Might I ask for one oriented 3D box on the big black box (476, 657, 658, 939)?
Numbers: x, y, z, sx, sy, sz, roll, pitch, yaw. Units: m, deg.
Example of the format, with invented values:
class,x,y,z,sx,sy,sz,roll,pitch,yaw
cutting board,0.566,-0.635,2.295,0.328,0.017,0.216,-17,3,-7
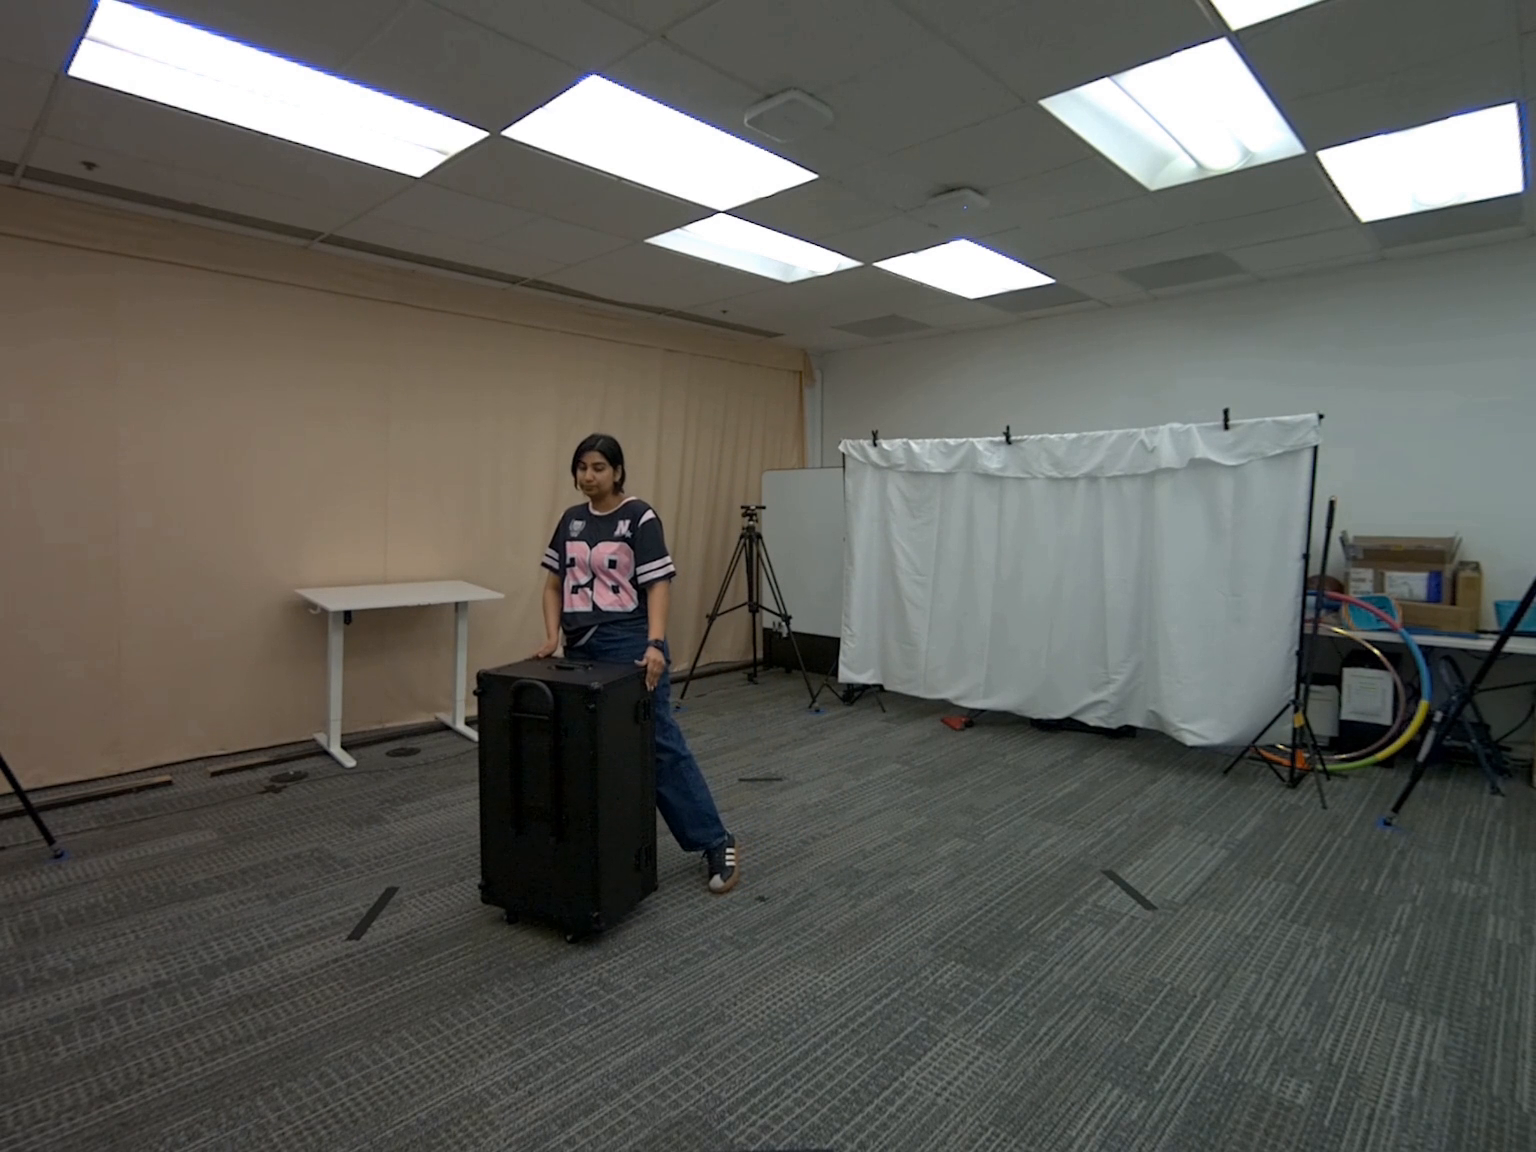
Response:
class,x,y,z,sx,sy,sz,roll,pitch,yaw
big black box,-0.668,0.737,2.837,0.536,0.866,0.376,1,4,24
